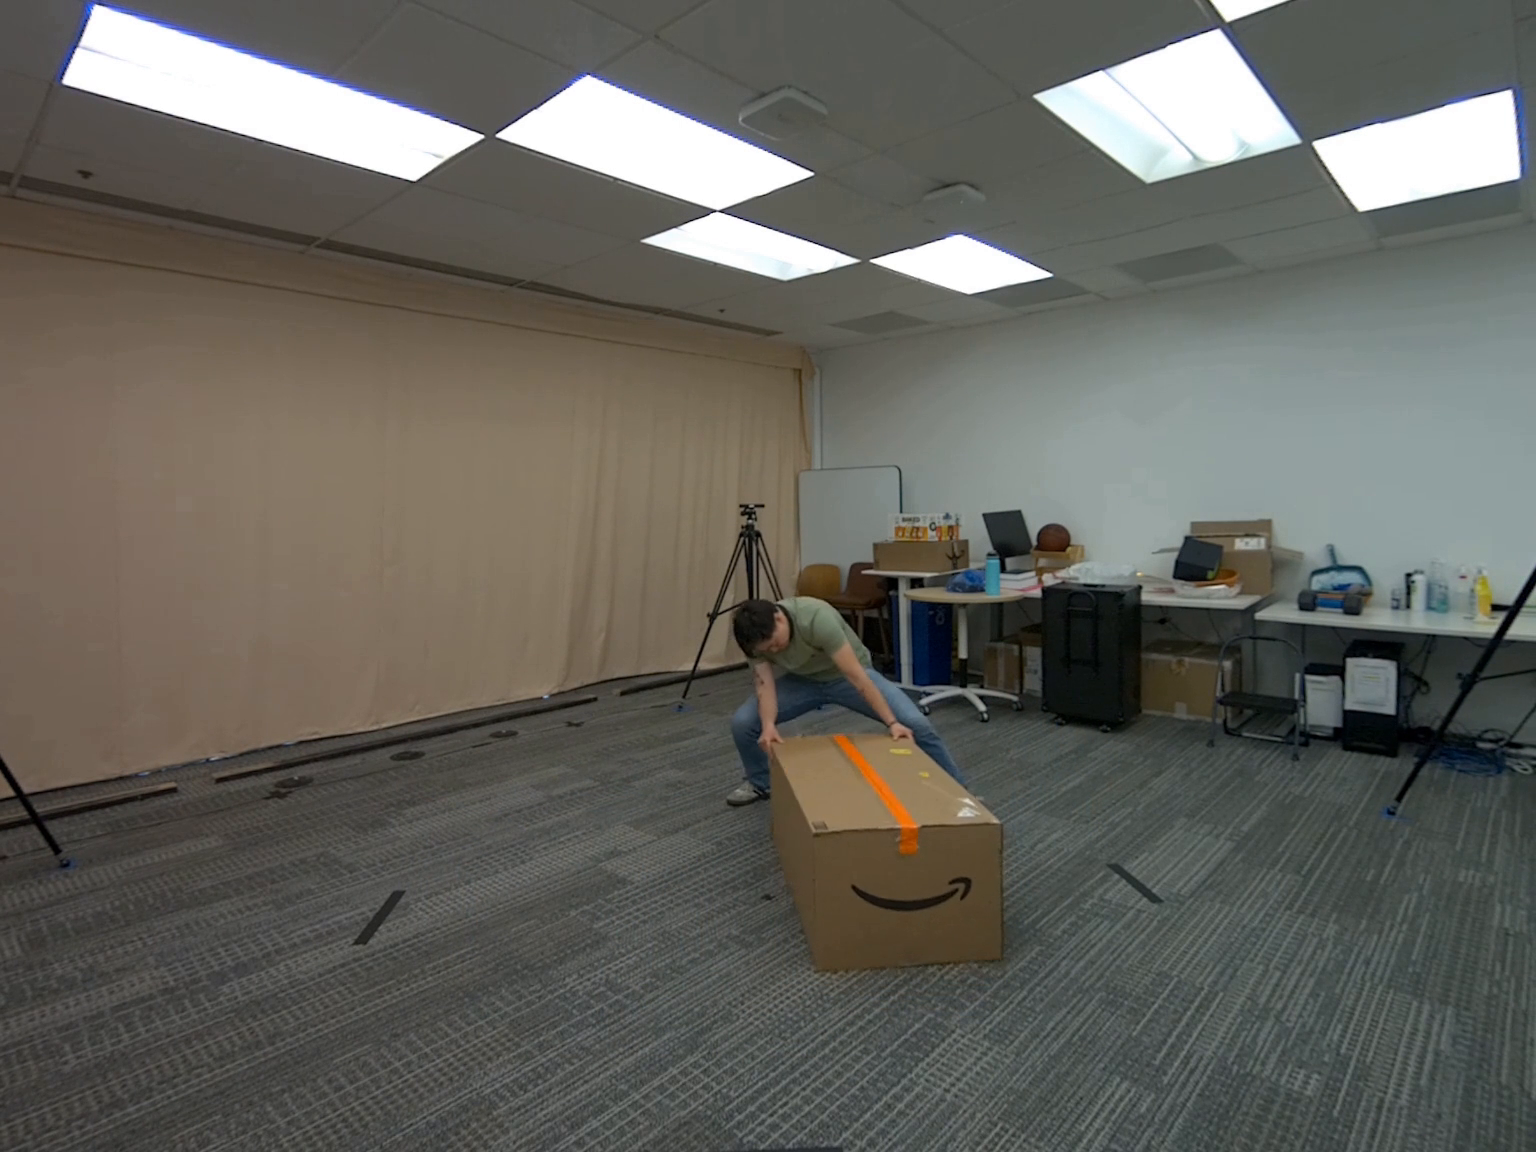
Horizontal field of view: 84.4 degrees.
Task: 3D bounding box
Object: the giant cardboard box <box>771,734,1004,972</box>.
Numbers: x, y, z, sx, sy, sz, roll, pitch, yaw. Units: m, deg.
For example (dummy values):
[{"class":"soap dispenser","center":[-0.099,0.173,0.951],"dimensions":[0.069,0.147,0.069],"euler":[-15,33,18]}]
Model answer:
[{"class":"giant cardboard box","center":[0.356,0.913,3.011],"dimensions":[0.574,0.425,1.034],"euler":[-1,4,-7]}]
